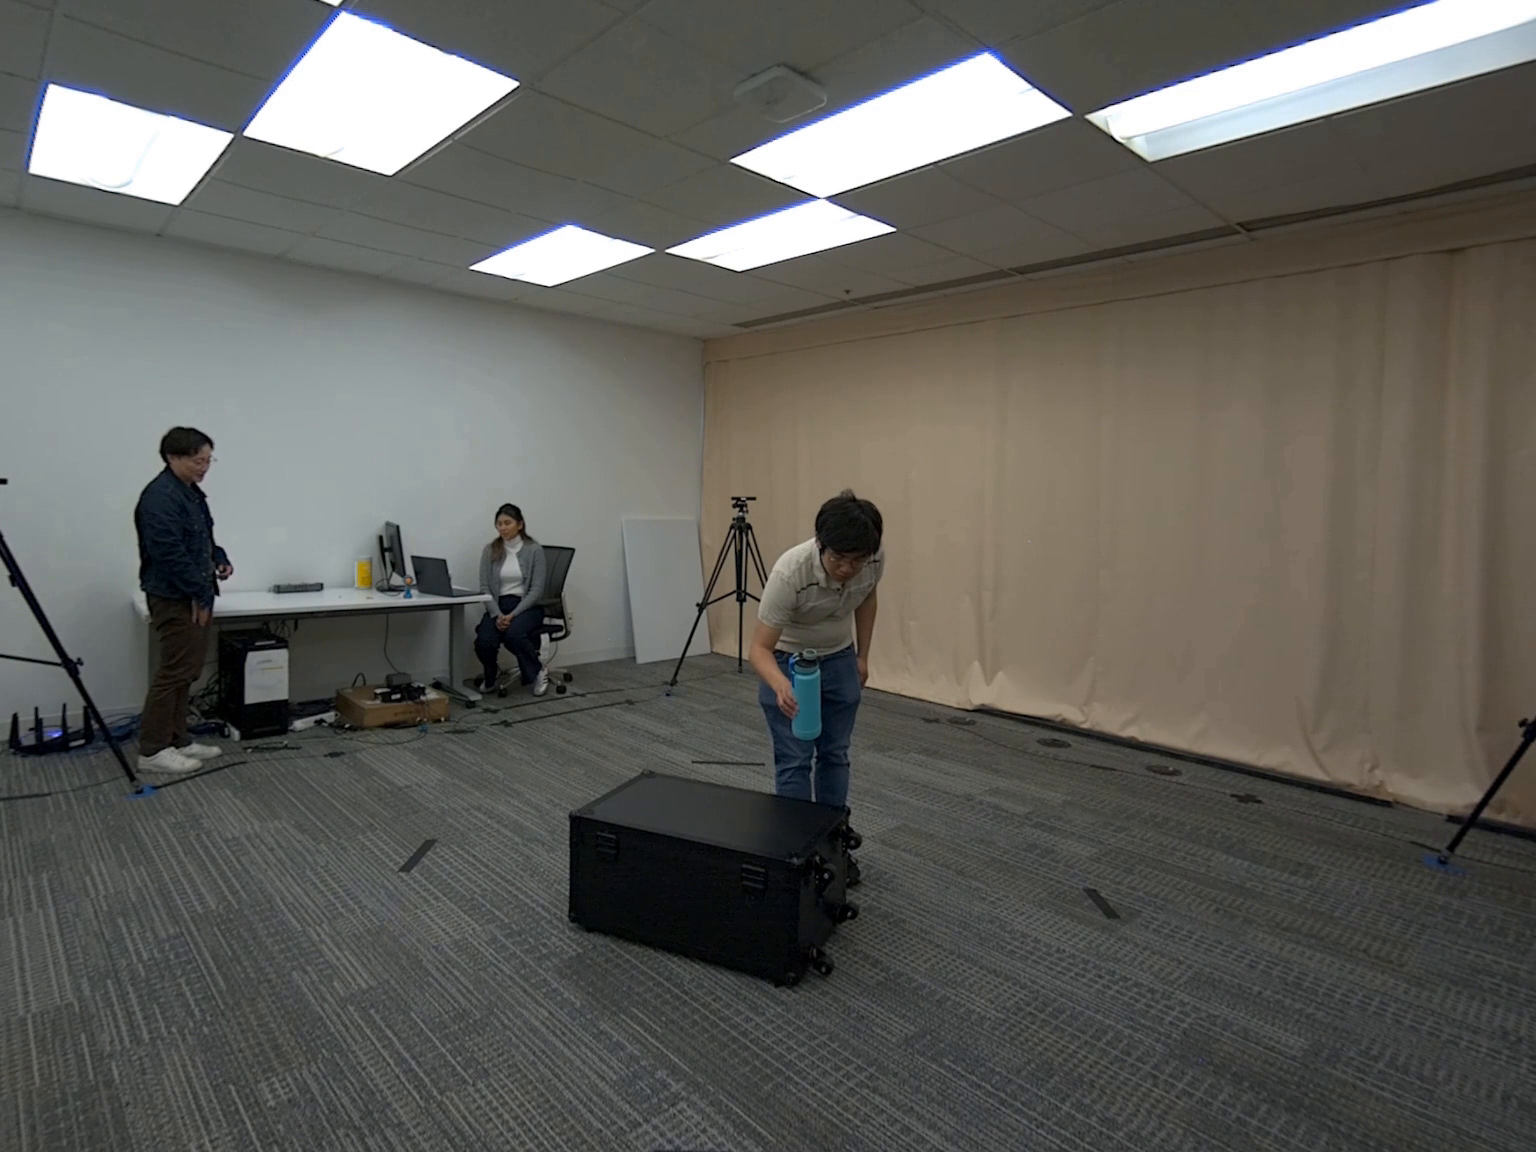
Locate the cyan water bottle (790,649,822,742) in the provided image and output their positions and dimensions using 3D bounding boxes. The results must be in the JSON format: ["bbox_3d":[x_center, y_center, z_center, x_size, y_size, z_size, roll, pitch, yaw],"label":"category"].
[{"bbox_3d":[0.107,0.364,2.569,0.092,0.278,0.094,-5,23,1],"label":"cyan water bottle"}]
